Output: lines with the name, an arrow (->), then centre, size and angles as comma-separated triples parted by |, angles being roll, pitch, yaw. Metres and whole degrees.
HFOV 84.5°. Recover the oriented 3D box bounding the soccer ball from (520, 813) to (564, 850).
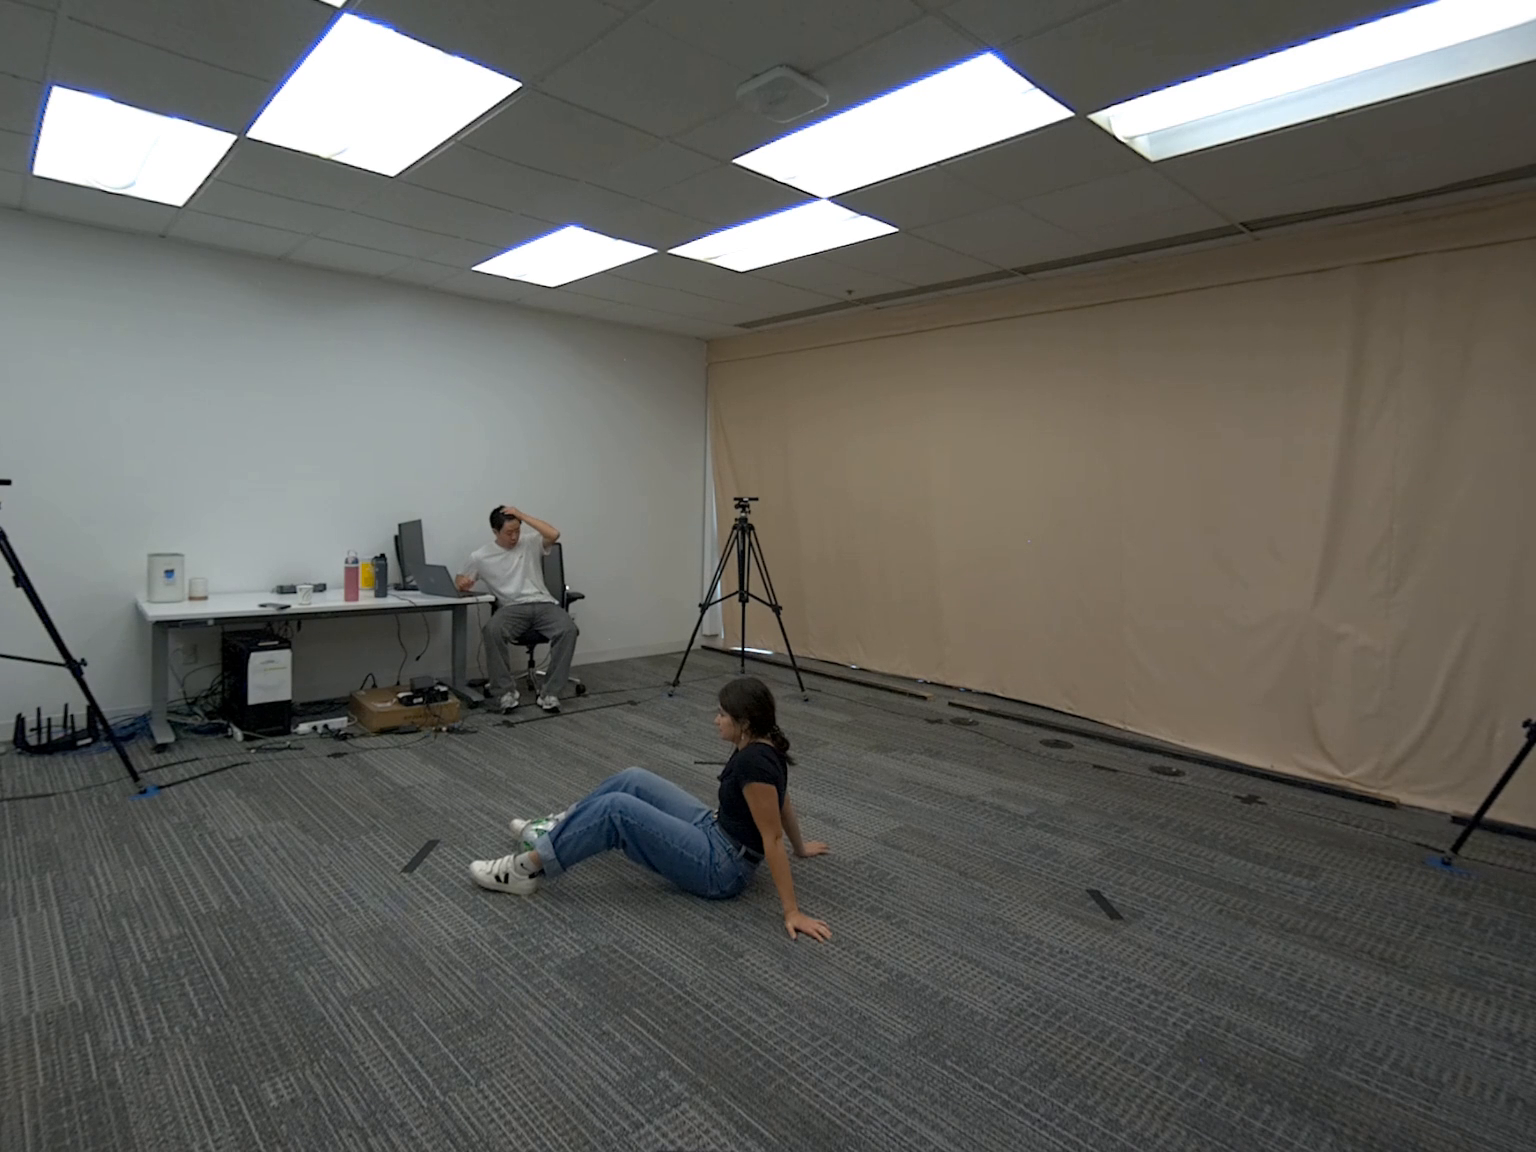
soccer ball -> -0.836, 0.992, 3.128 | 0.187, 0.186, 0.188 | 1, 7, -1
